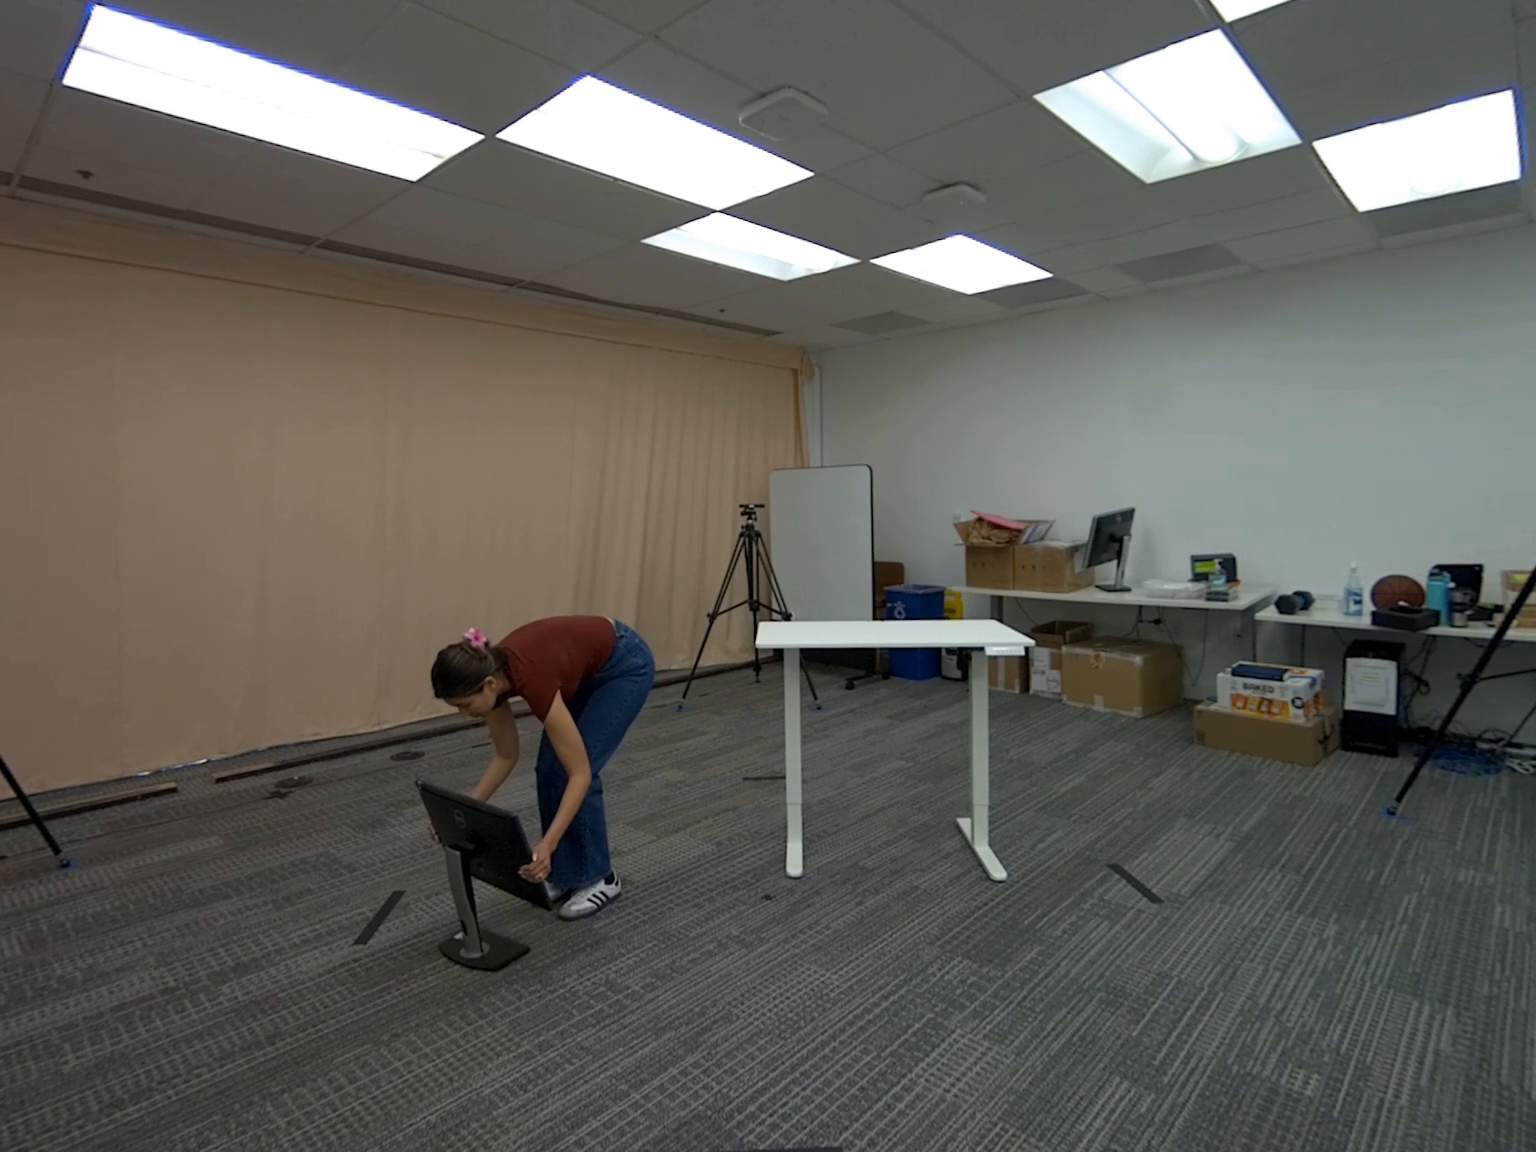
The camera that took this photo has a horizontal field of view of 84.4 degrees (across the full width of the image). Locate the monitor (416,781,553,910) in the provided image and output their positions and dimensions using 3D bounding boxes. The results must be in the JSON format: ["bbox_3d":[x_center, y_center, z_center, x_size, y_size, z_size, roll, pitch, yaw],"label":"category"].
[{"bbox_3d":[-0.914,0.931,2.644,0.556,0.520,0.182,2,7,37],"label":"monitor"}]
